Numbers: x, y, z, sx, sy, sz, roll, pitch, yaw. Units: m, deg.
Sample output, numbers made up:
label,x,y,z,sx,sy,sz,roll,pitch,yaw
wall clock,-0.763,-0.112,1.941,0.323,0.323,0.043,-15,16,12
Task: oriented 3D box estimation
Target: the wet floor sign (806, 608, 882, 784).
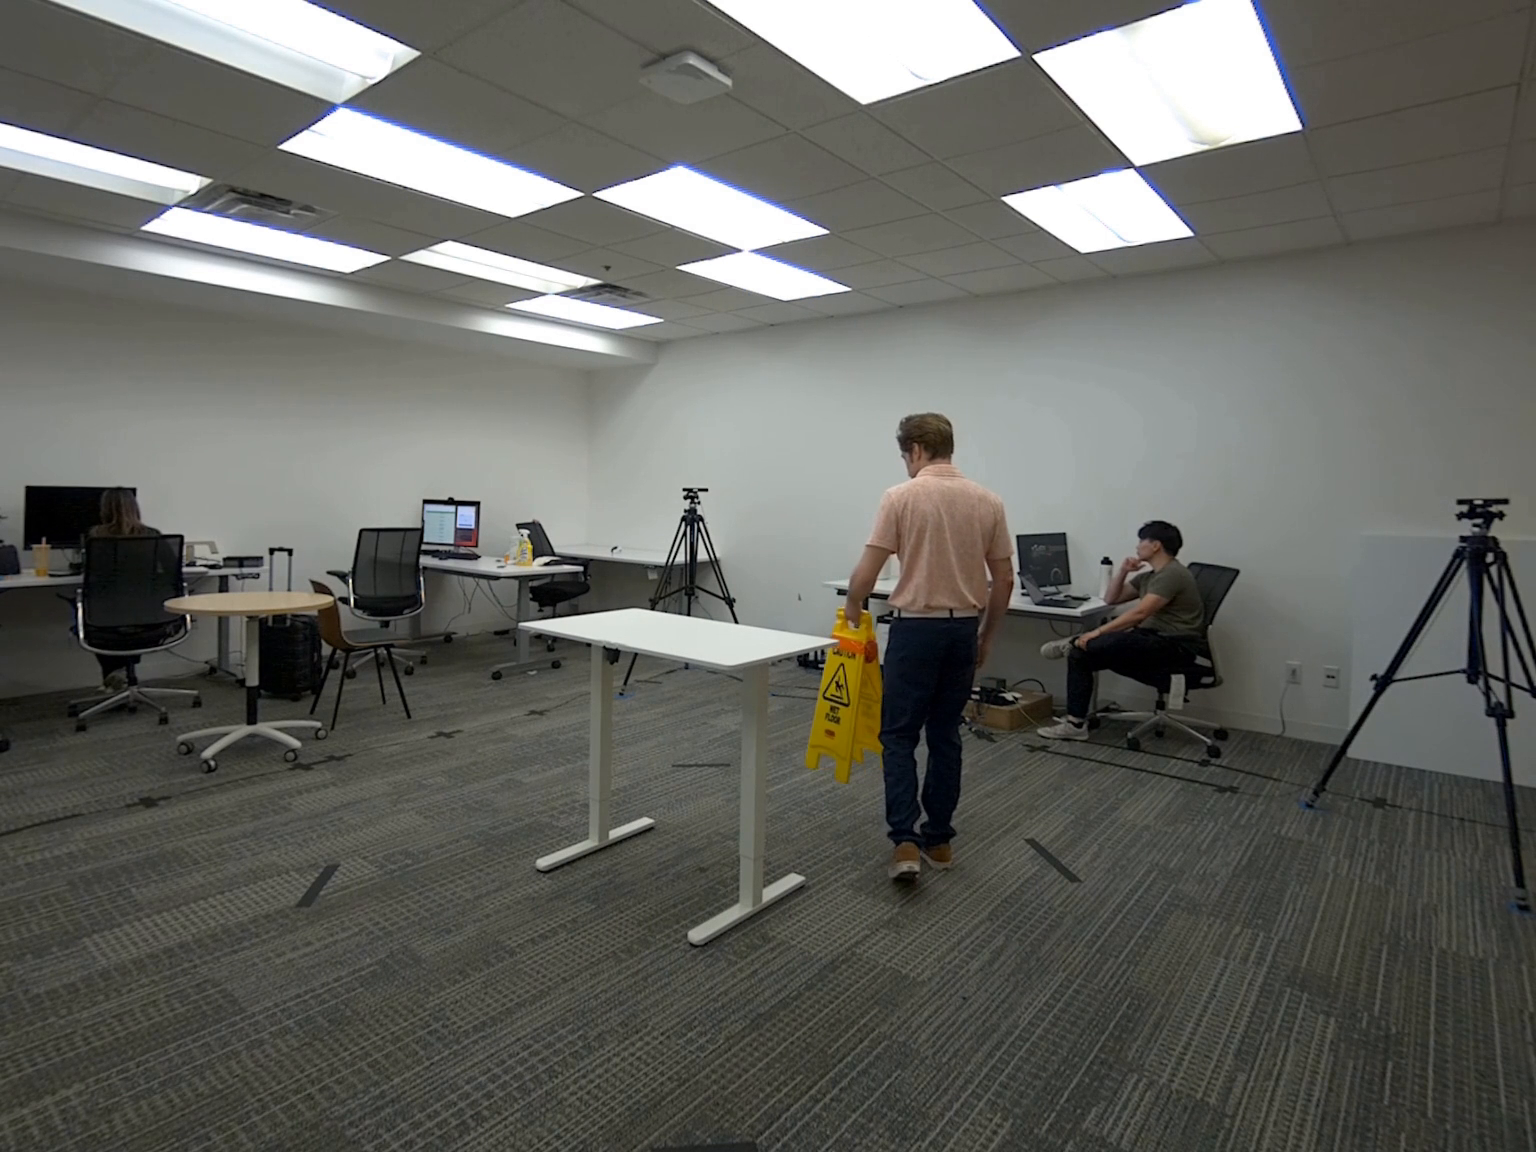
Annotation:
label,x,y,z,sx,sy,sz,roll,pitch,yaw
wet floor sign,0.331,0.453,3.401,0.282,0.646,0.290,0,1,-28
